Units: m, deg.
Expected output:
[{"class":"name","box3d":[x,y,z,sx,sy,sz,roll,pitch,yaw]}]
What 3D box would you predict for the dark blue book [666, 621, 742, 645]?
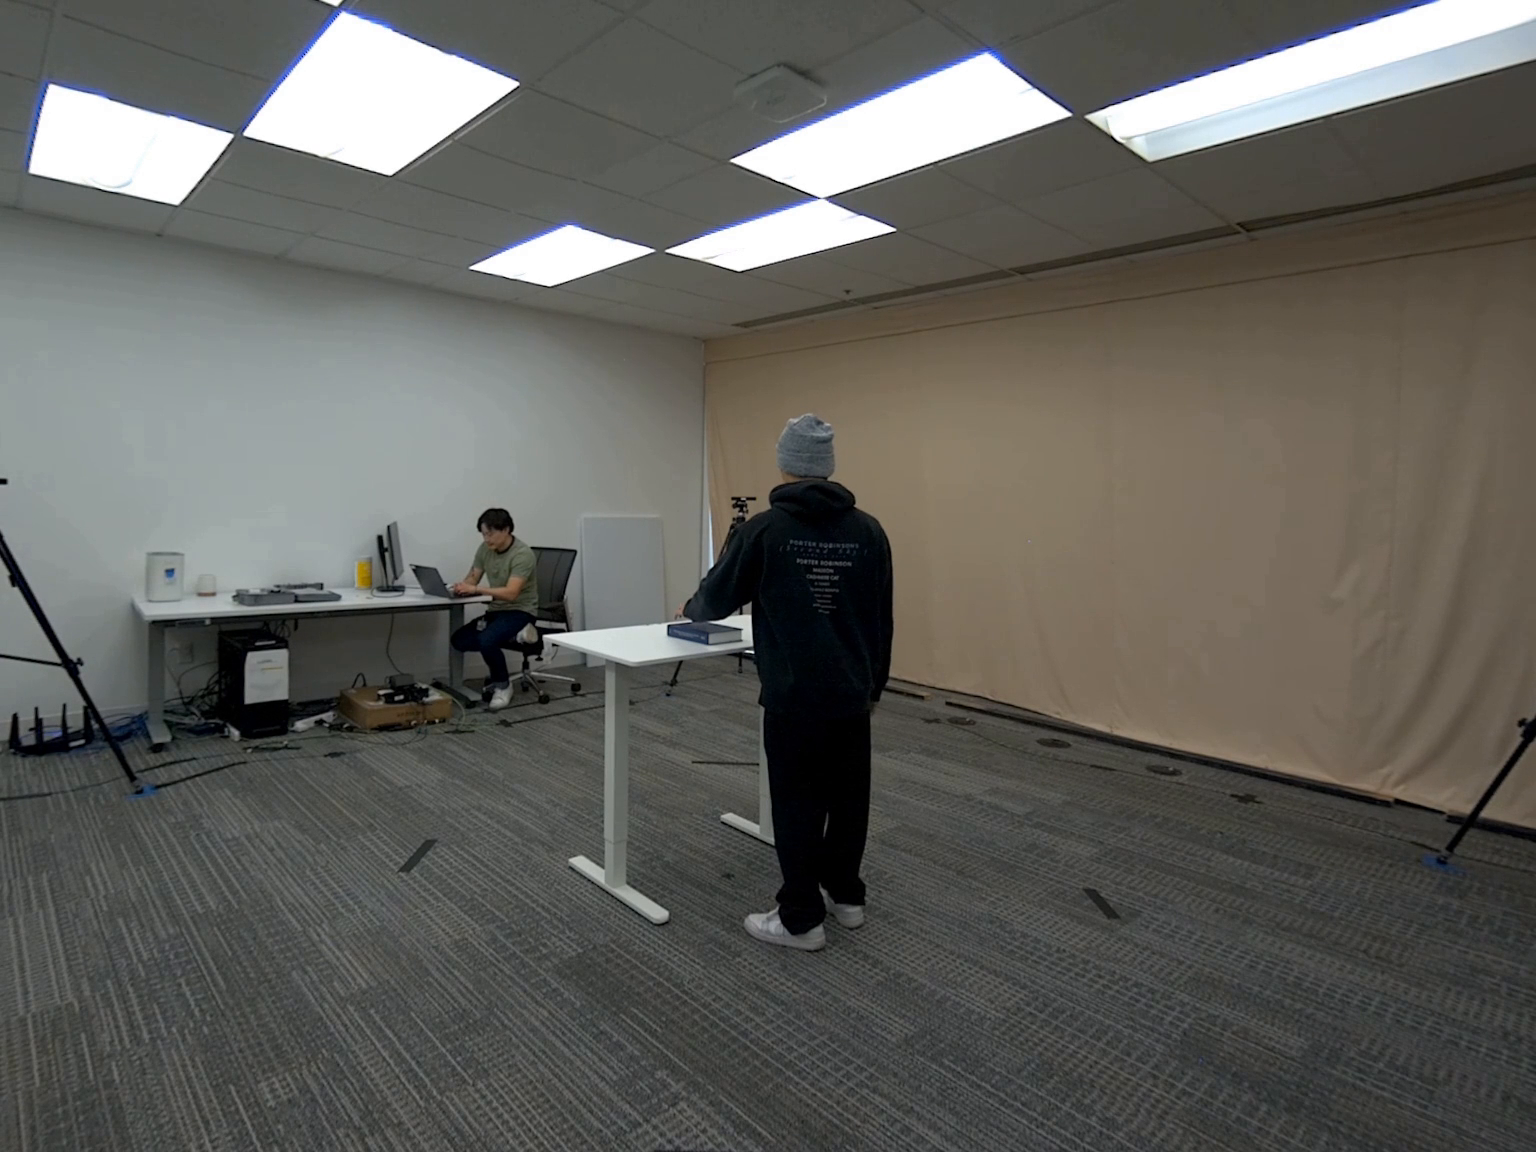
[{"class":"dark blue book","box3d":[-0.221,0.205,3.049,0.160,0.045,0.251,-4,7,-42]}]
